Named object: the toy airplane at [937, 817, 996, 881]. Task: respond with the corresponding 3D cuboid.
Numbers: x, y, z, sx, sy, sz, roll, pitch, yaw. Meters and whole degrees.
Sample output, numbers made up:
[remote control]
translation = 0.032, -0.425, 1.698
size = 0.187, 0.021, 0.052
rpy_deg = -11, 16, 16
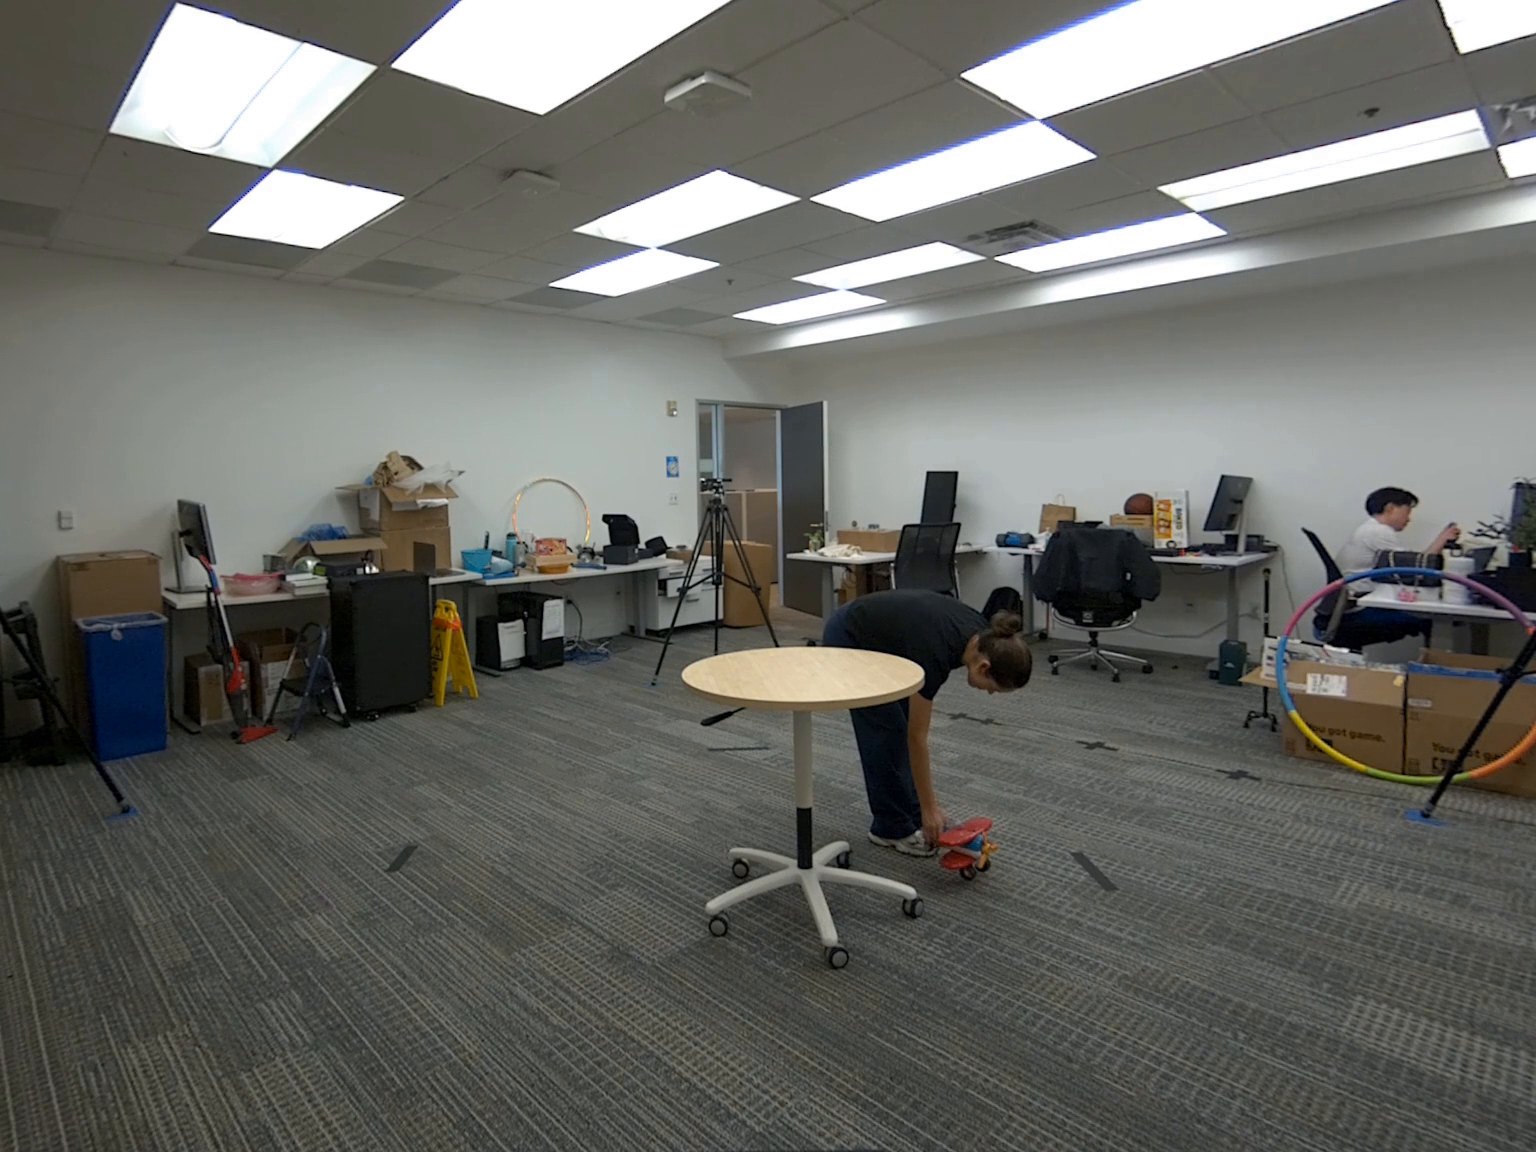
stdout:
[toy airplane]
translation = 0.649, 0.933, 2.975
size = 0.265, 0.154, 0.249
rpy_deg = 11, 17, 18
